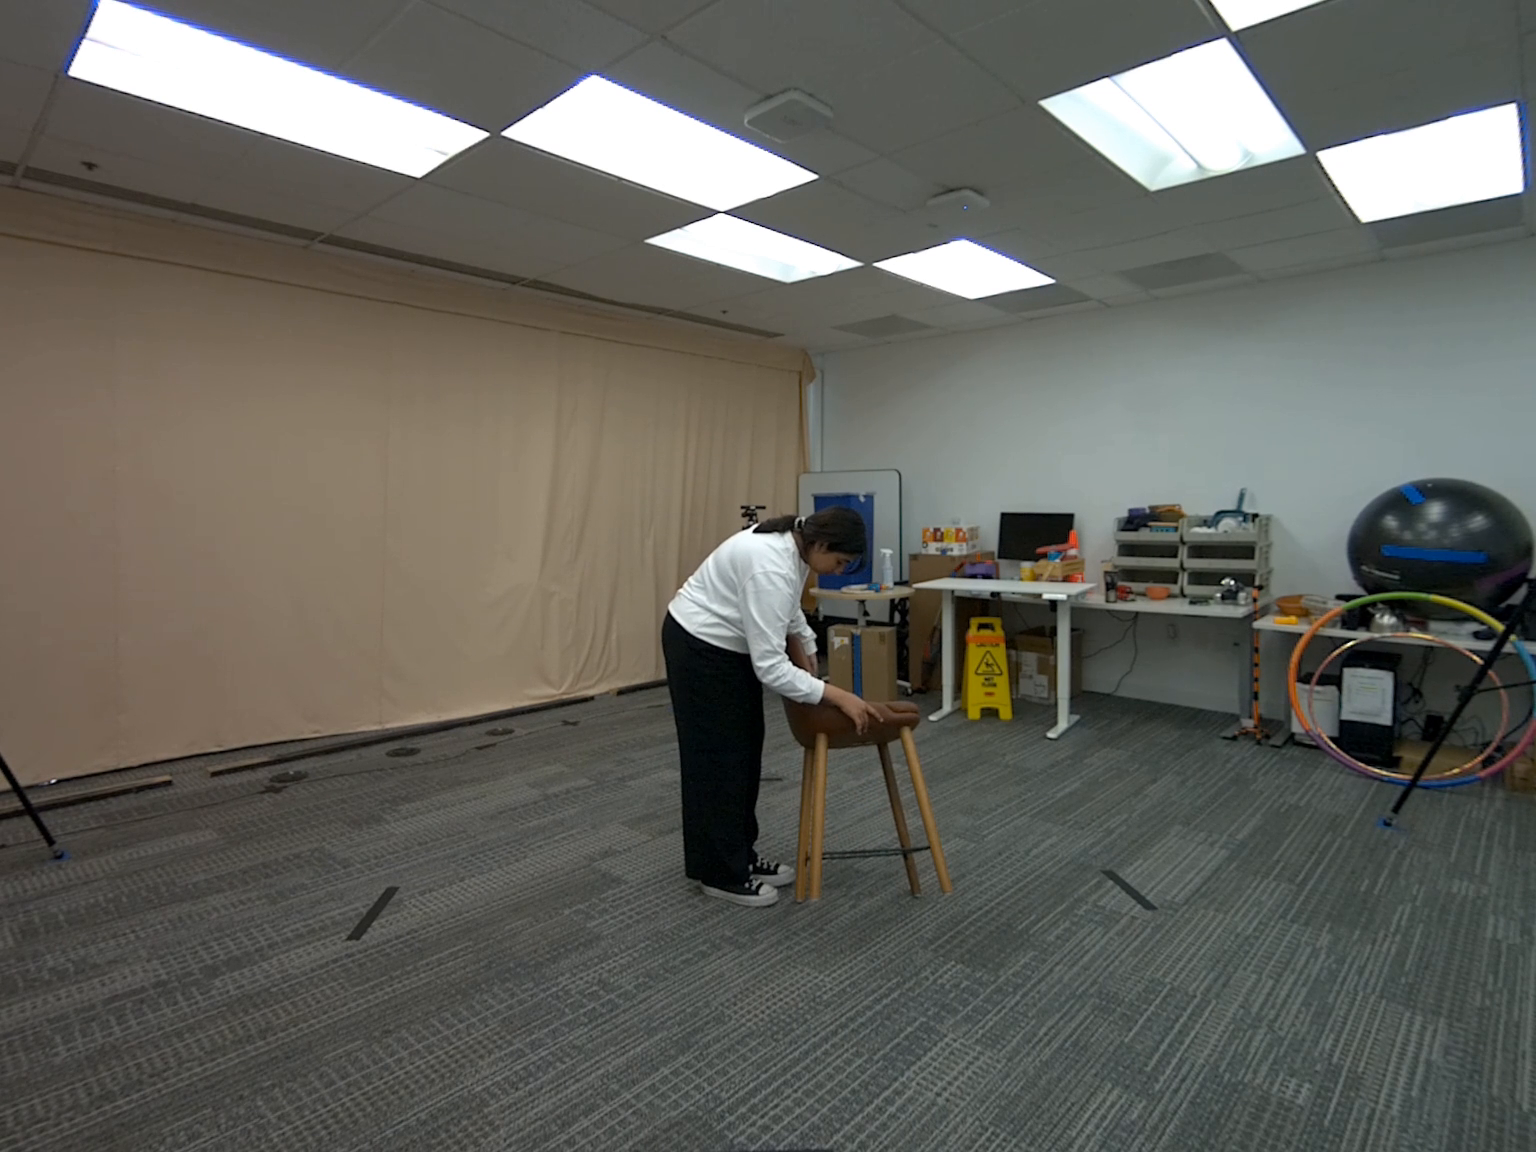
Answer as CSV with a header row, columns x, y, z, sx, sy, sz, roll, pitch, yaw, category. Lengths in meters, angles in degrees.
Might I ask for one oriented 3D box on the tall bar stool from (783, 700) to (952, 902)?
x,y,z,sx,sy,sz,roll,pitch,yaw,category
0.311,0.665,2.973,0.465,0.904,0.452,-4,-22,-7,tall bar stool
